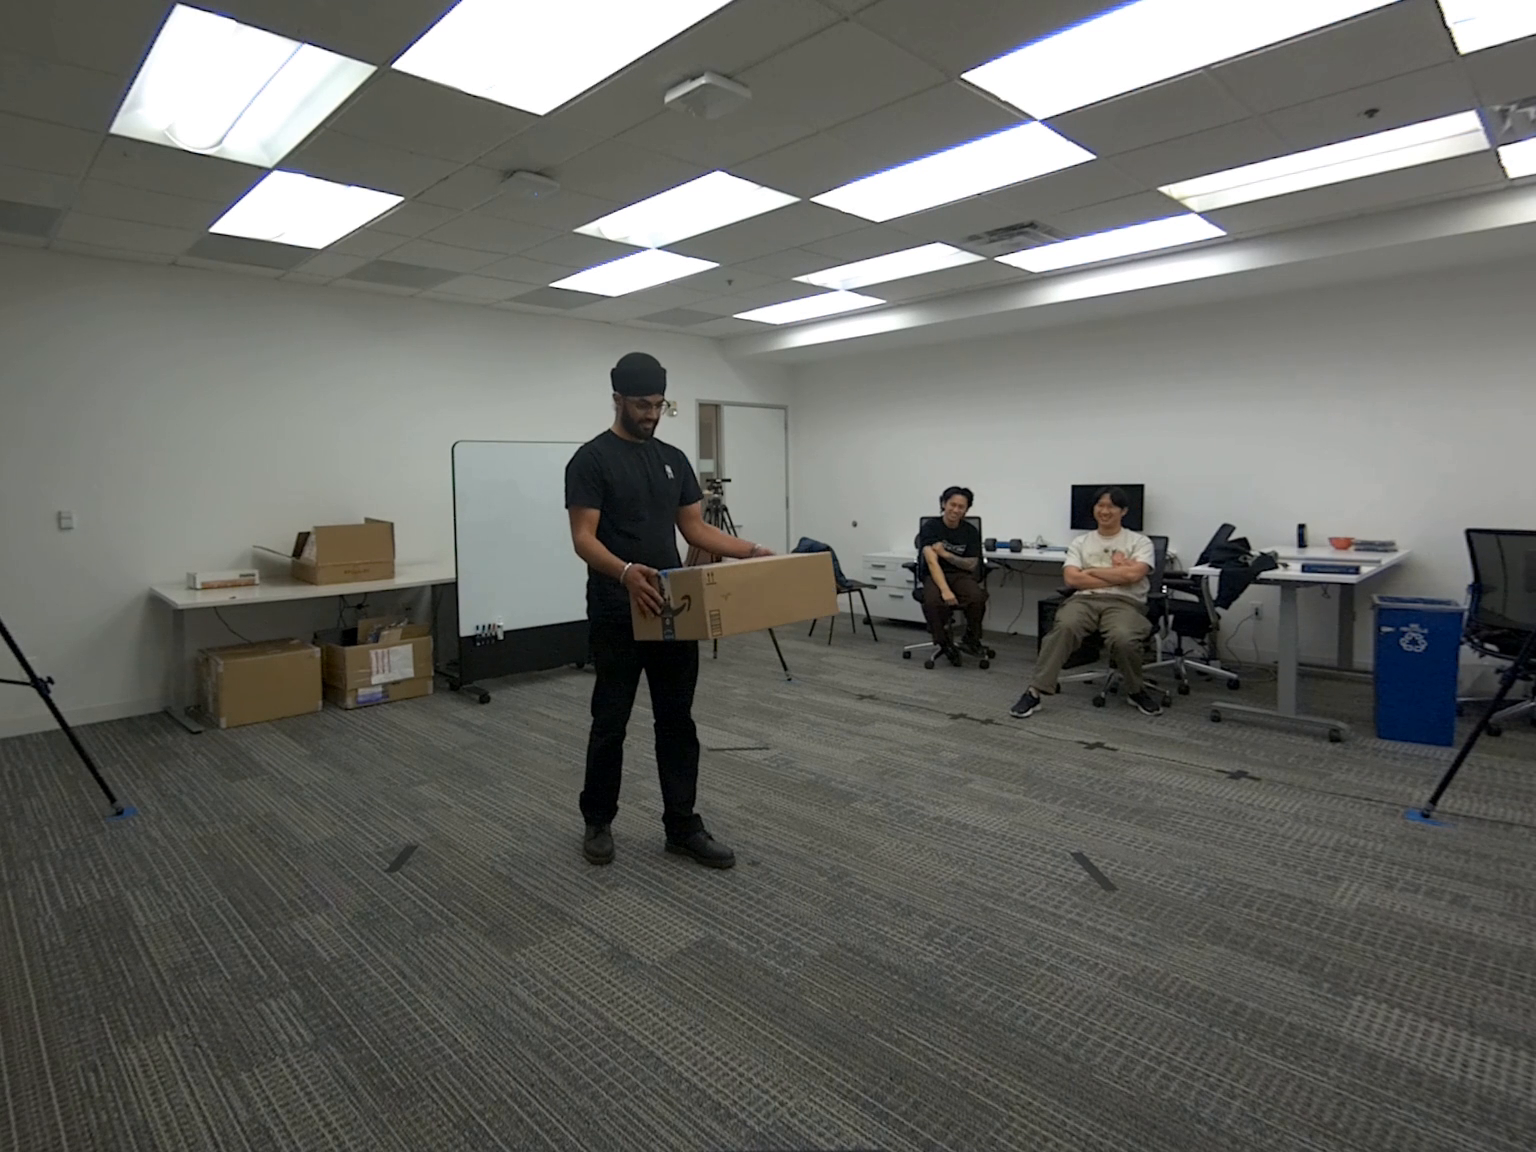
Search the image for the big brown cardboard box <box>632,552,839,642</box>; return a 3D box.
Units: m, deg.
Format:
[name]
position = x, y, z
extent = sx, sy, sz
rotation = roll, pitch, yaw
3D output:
[big brown cardboard box]
position = -0.116, 0.065, 2.870
extent = 0.574, 0.233, 0.428
rotation = -9, 1, -41
